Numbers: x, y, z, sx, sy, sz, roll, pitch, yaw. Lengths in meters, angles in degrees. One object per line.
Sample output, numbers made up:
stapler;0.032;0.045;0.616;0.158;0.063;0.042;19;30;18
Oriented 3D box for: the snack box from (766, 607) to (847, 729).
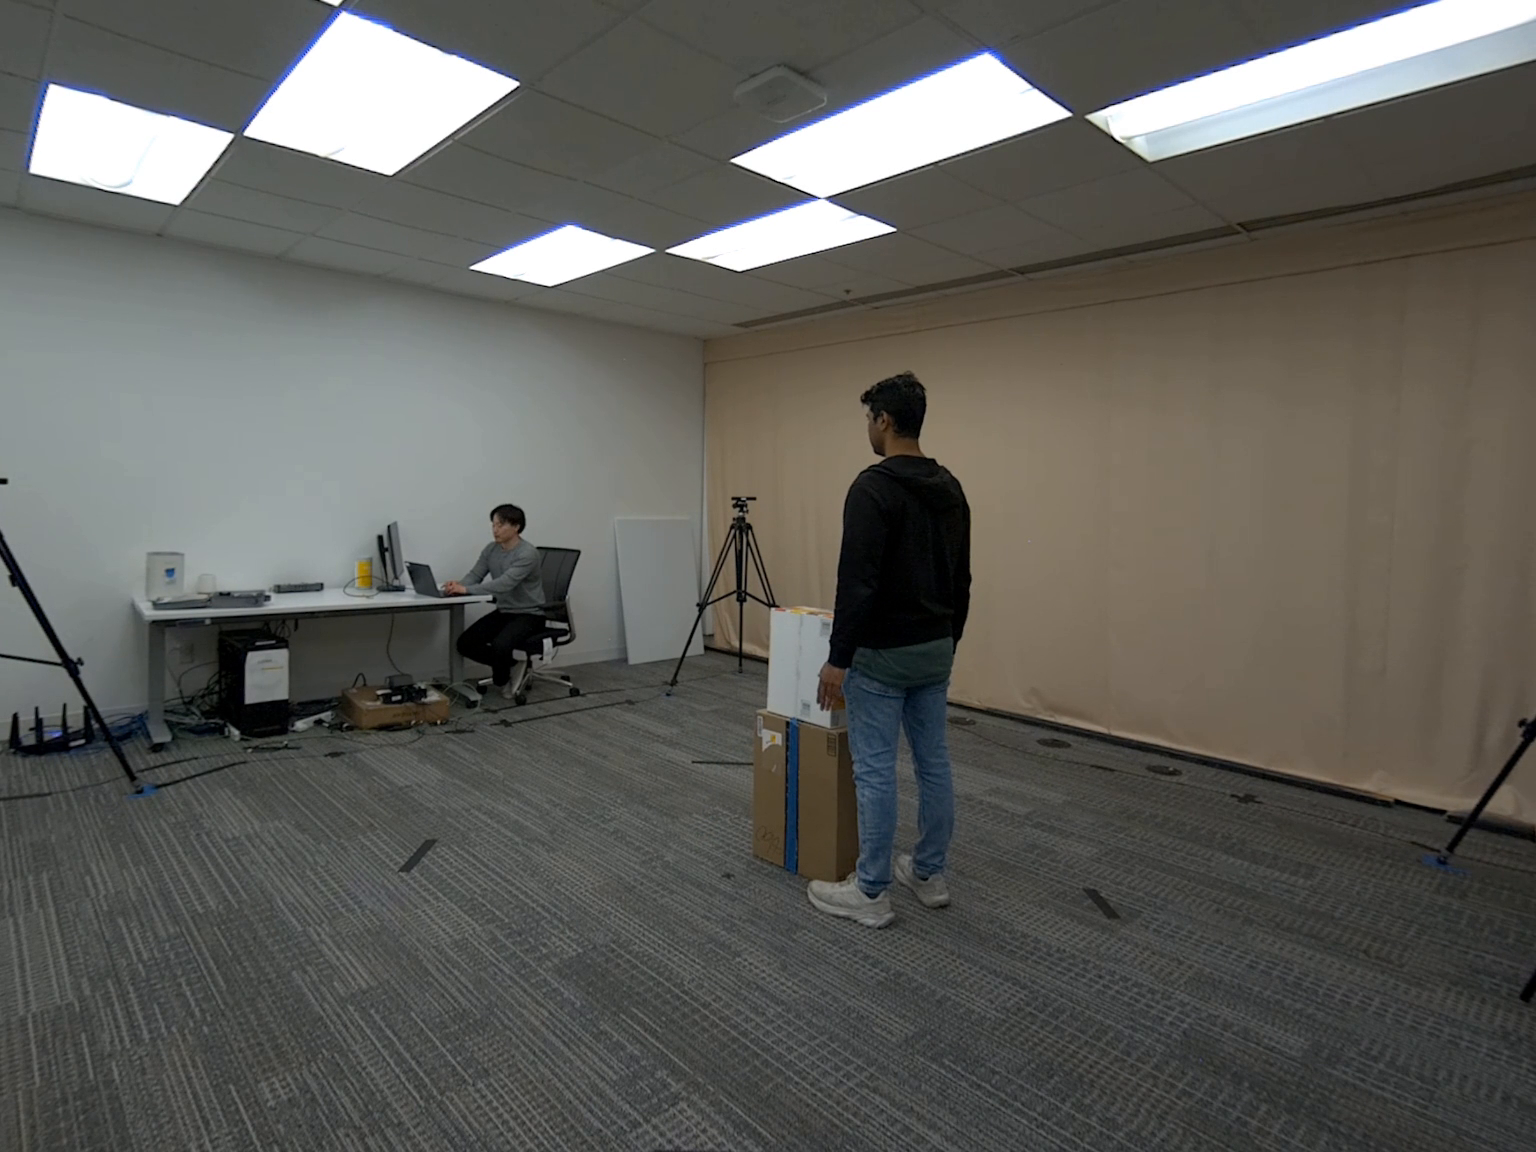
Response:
snack box;0.183;0.336;3.209;0.201;0.404;0.349;1;3;-42
